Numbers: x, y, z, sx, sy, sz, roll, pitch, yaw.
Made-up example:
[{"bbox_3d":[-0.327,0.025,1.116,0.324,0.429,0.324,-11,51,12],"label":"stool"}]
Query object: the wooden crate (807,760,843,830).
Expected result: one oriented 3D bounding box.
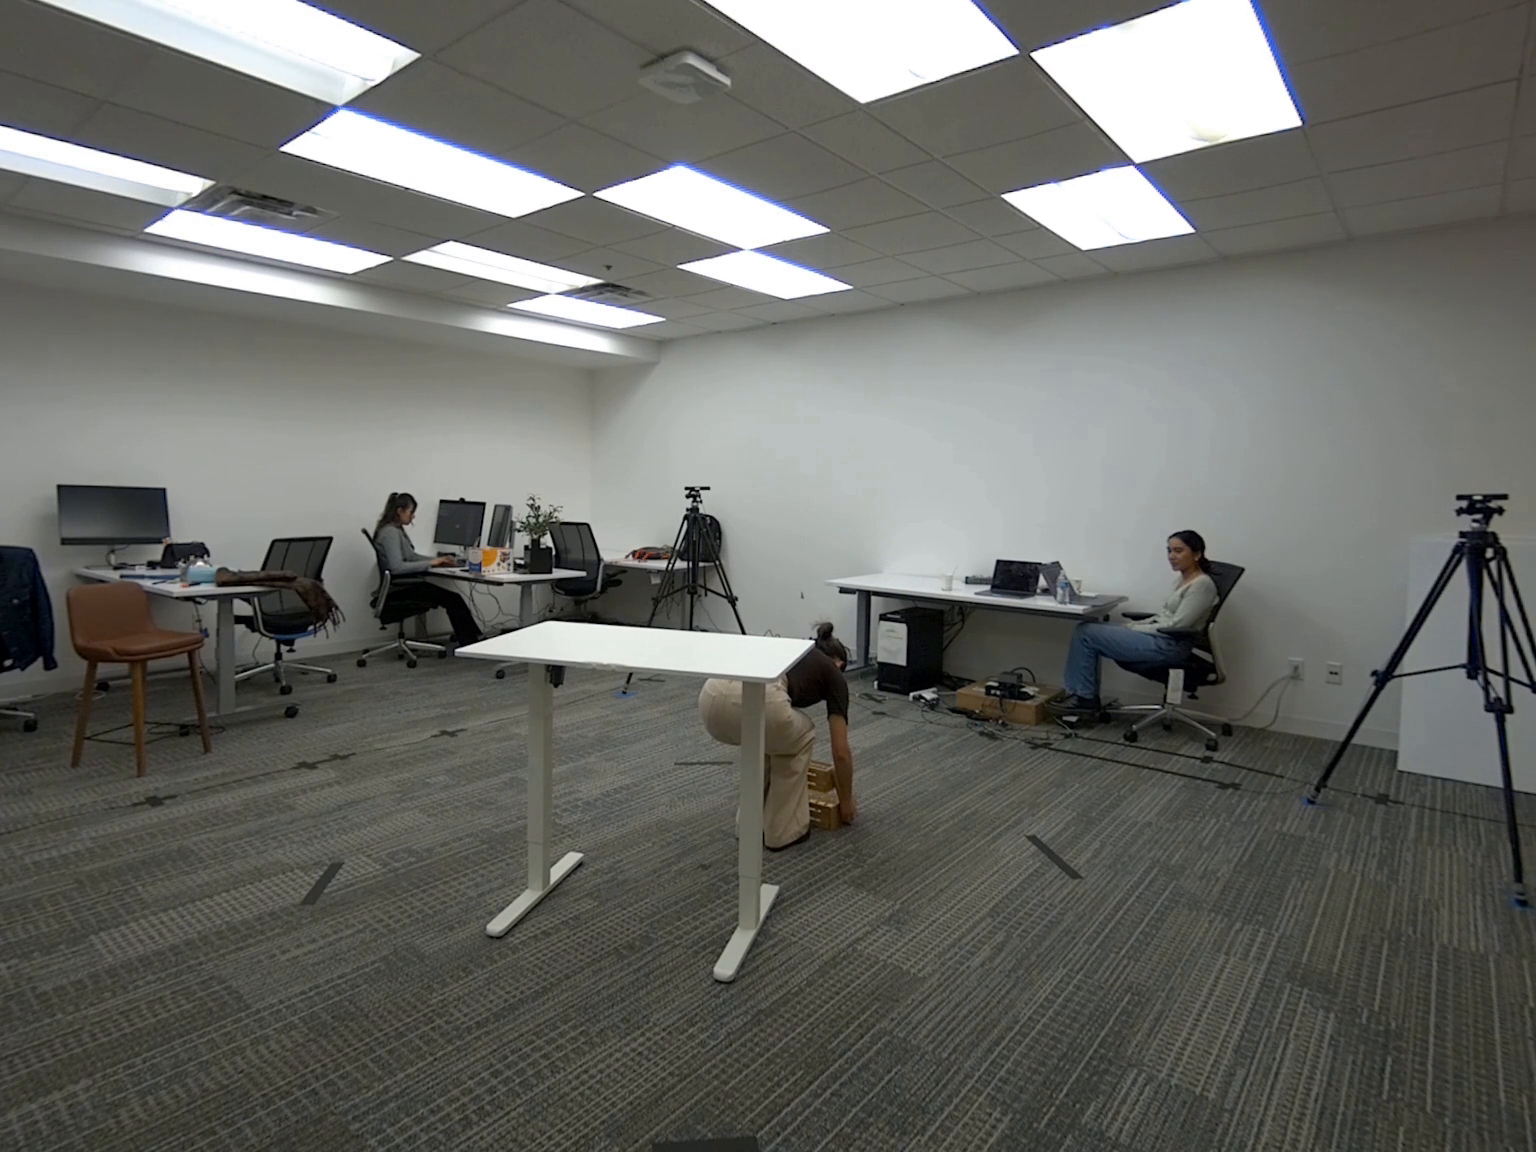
[{"bbox_3d":[0.172,0.884,3.634,0.334,0.272,0.294,4,5,32],"label":"wooden crate"}]
